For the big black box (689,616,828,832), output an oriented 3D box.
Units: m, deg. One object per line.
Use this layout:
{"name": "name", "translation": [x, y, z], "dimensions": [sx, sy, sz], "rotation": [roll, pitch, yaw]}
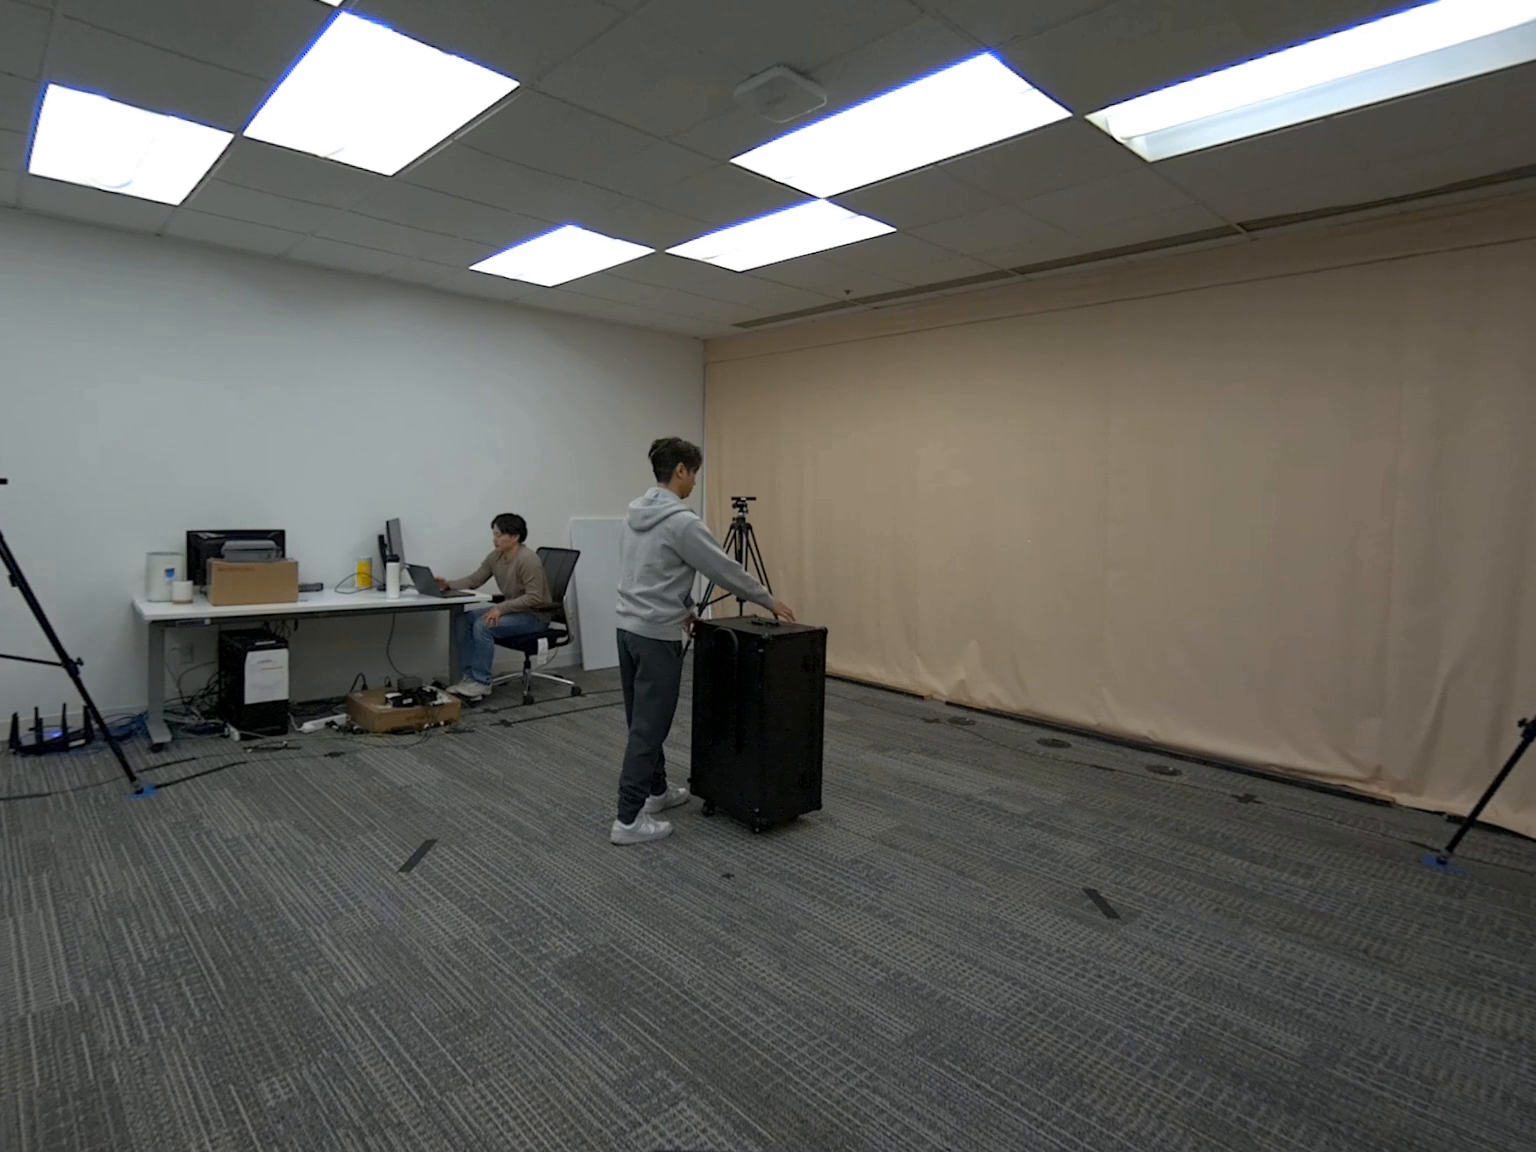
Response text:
{"name": "big black box", "translation": [-0.060, 0.634, 3.667], "dimensions": [0.387, 0.859, 0.534], "rotation": [-3, 5, -41]}
